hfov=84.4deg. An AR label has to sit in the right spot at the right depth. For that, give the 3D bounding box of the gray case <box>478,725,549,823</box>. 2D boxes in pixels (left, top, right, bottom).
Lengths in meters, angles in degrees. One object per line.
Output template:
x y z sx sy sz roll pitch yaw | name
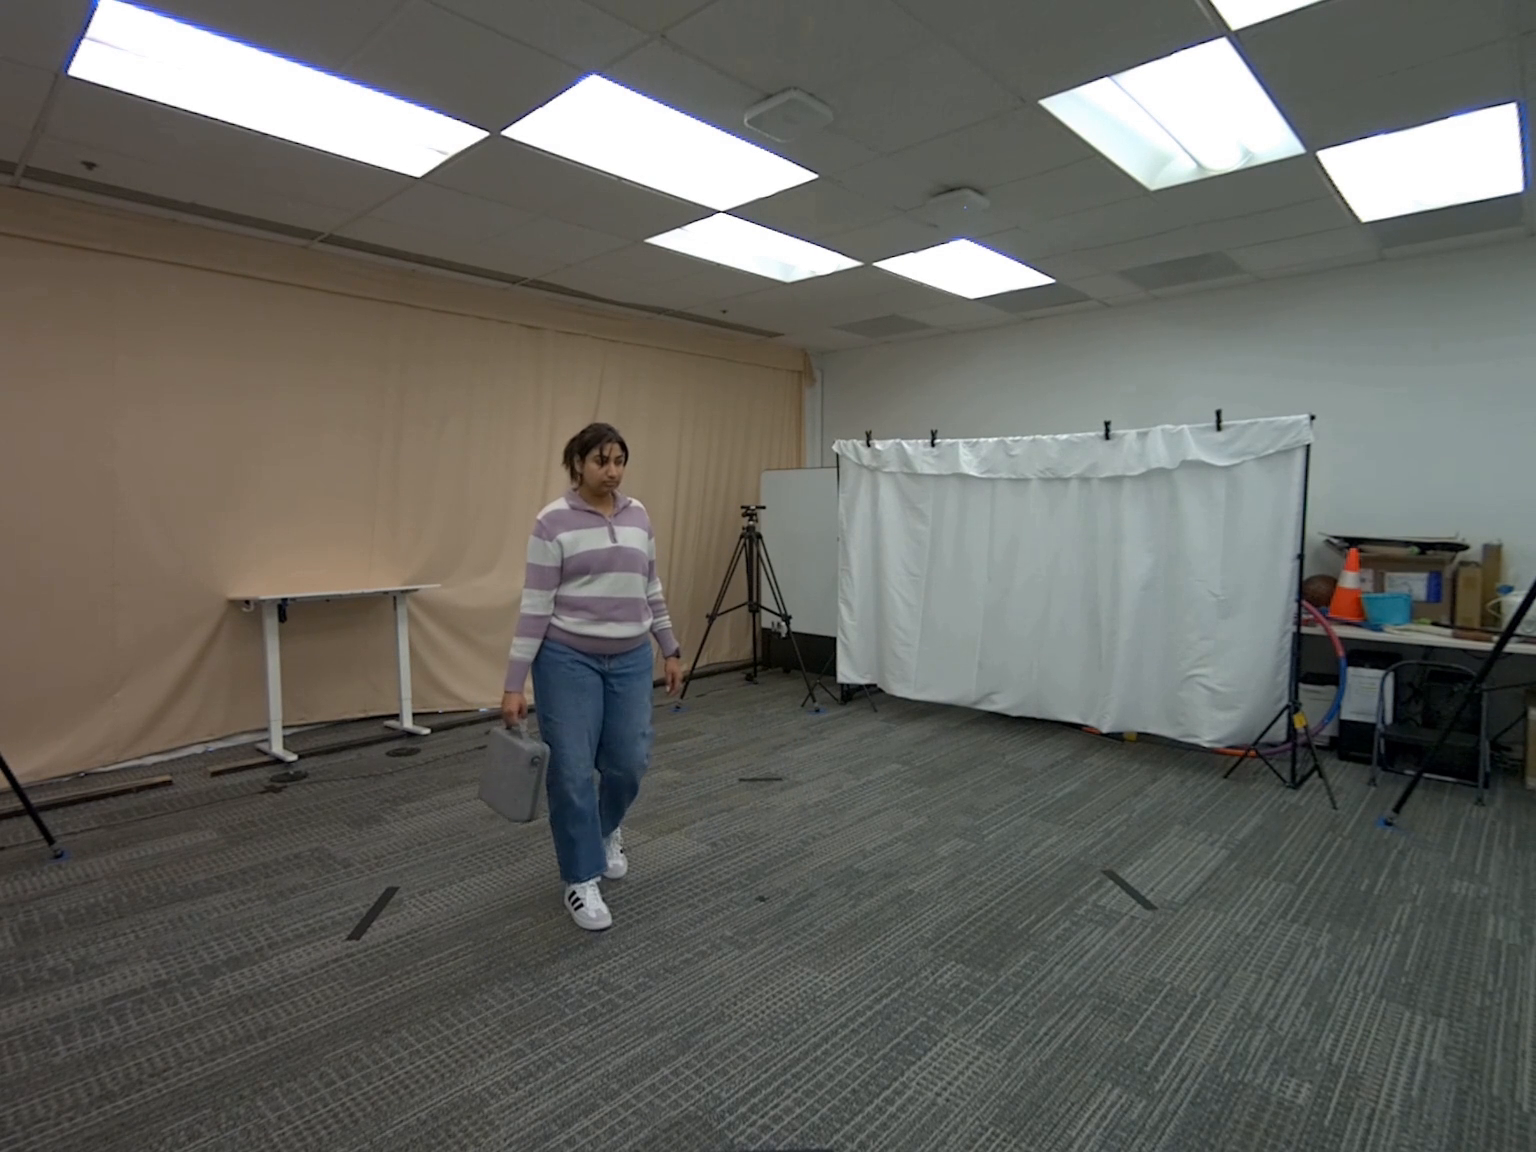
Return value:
-0.812 0.631 2.731 0.101 0.260 0.266 9 1 -44 | gray case
